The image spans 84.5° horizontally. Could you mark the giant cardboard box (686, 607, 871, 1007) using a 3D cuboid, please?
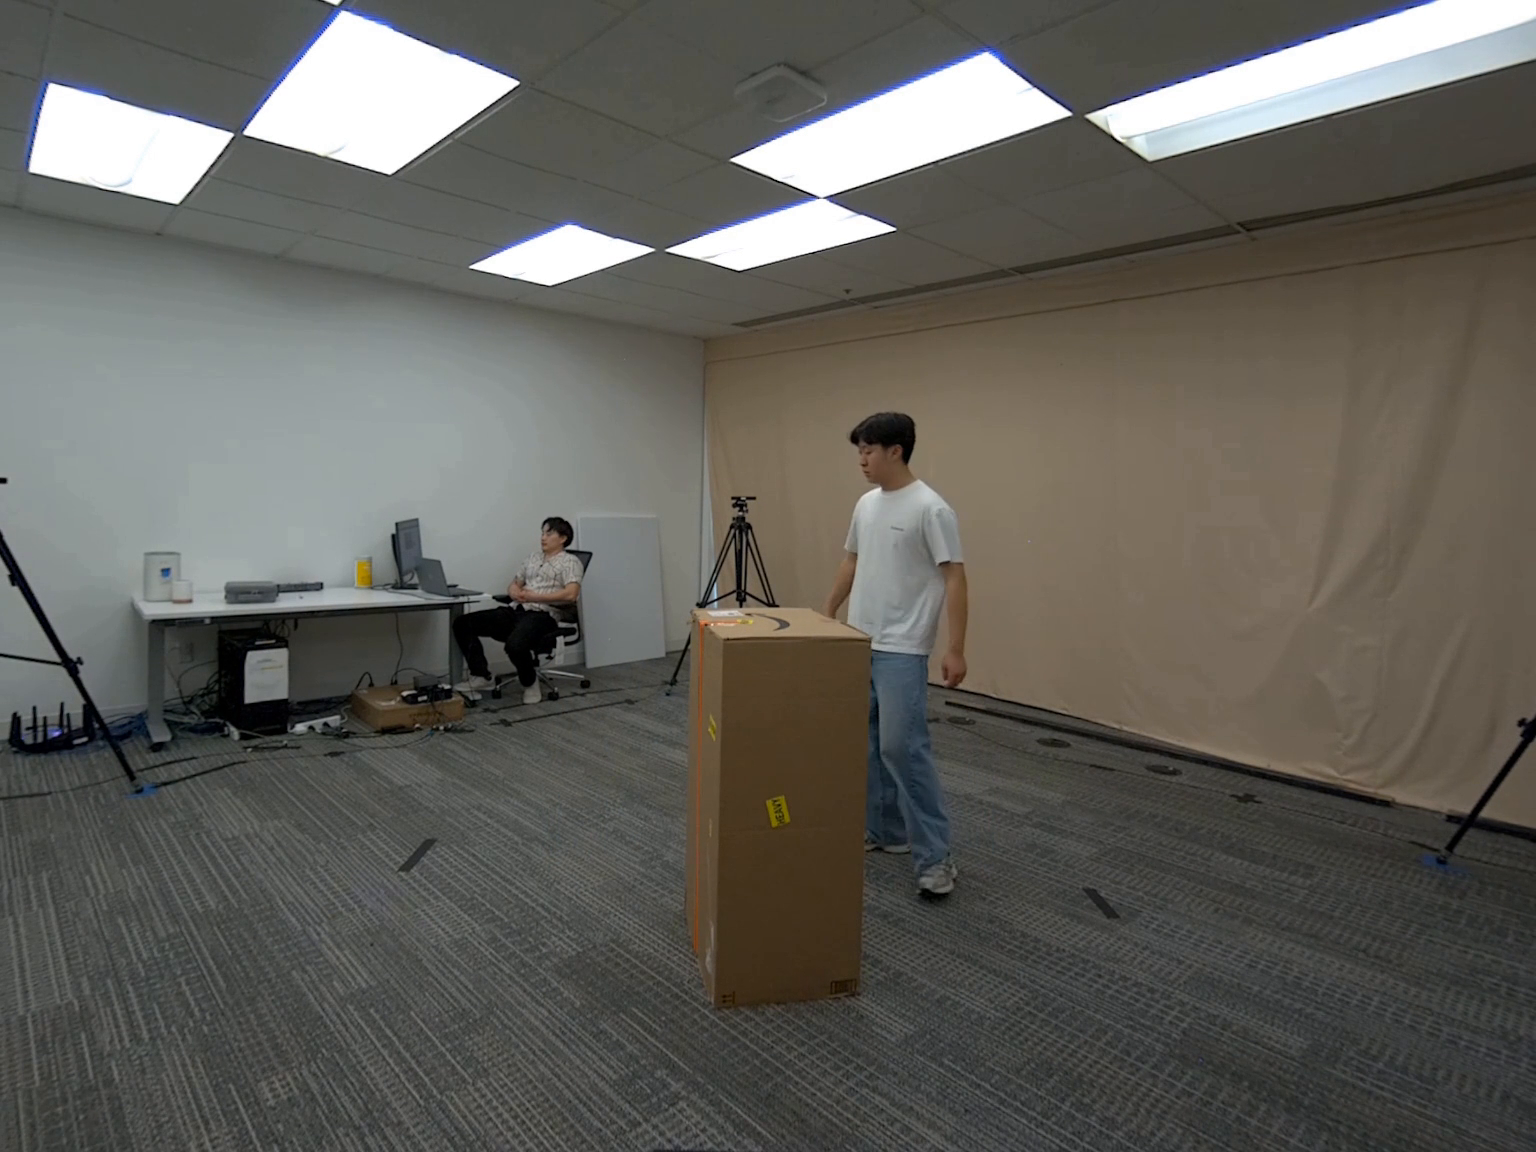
[{"bbox_3d":[-0.004,0.649,2.577,0.421,1.023,0.585,1,4,-15],"label":"giant cardboard box"}]
